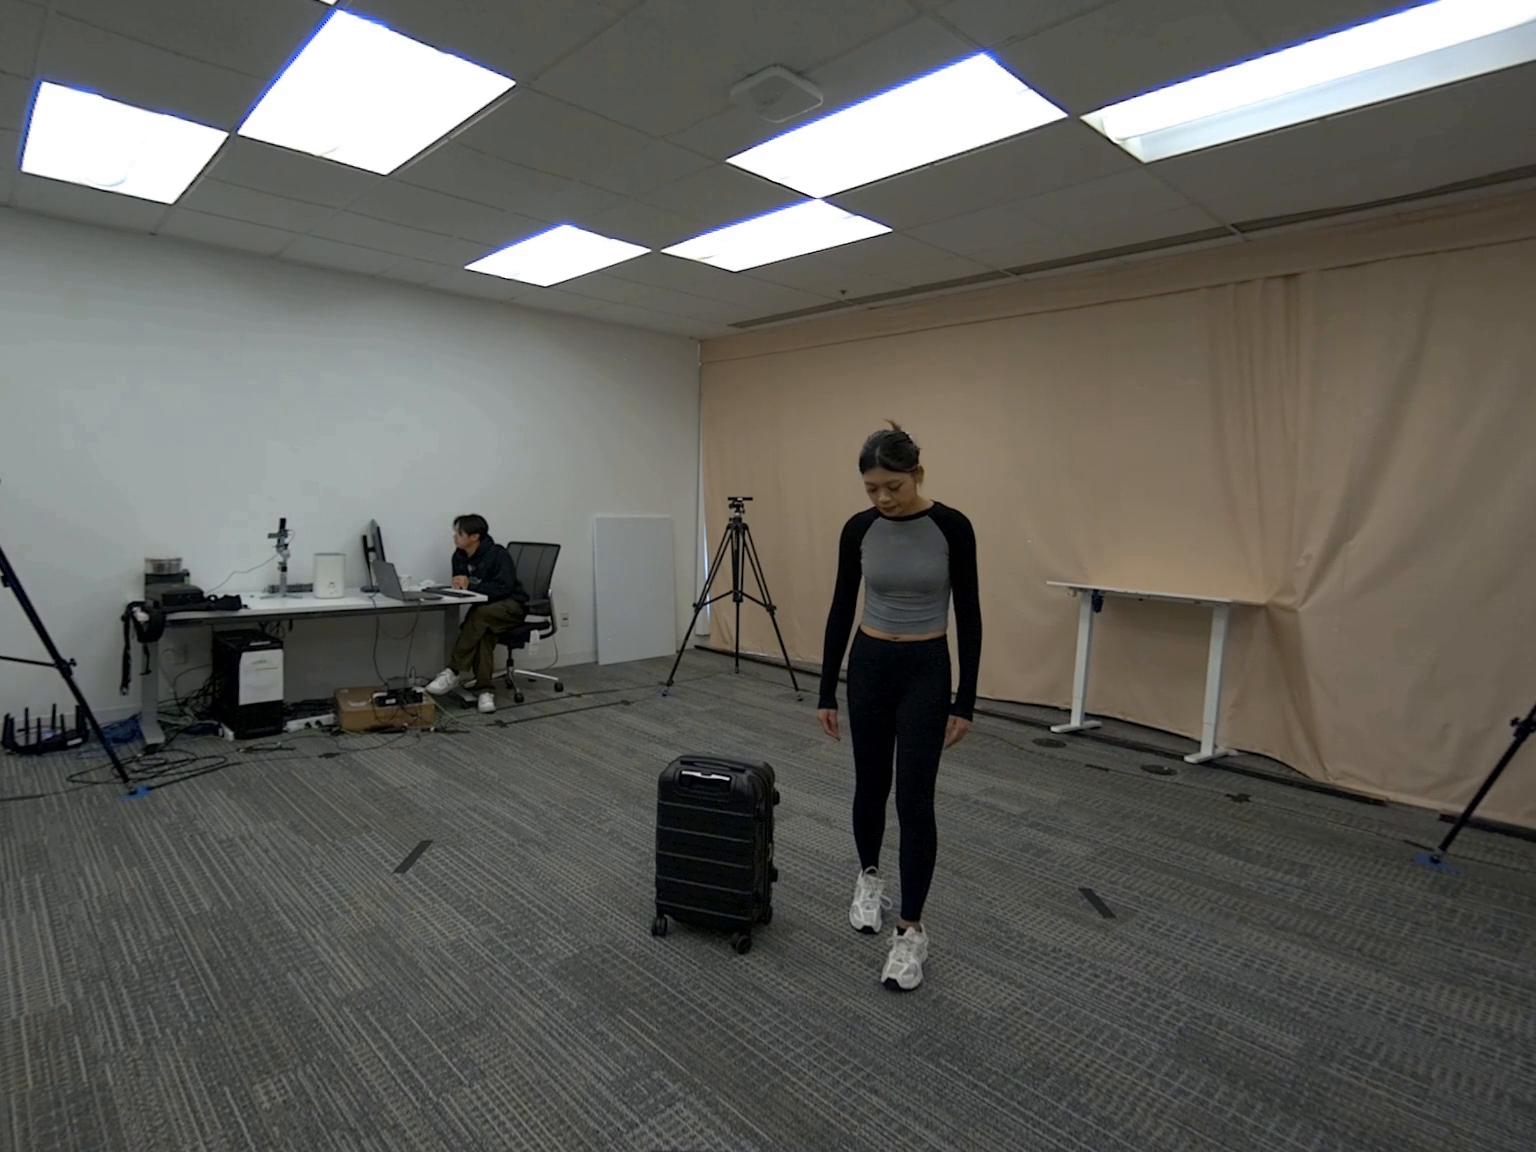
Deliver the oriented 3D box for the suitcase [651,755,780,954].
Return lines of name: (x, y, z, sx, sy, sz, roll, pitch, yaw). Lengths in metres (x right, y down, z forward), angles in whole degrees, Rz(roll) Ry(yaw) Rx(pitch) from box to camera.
suitcase: (-0.175, 0.866, 2.733, 0.381, 0.548, 0.244, 3, 2, 21)
